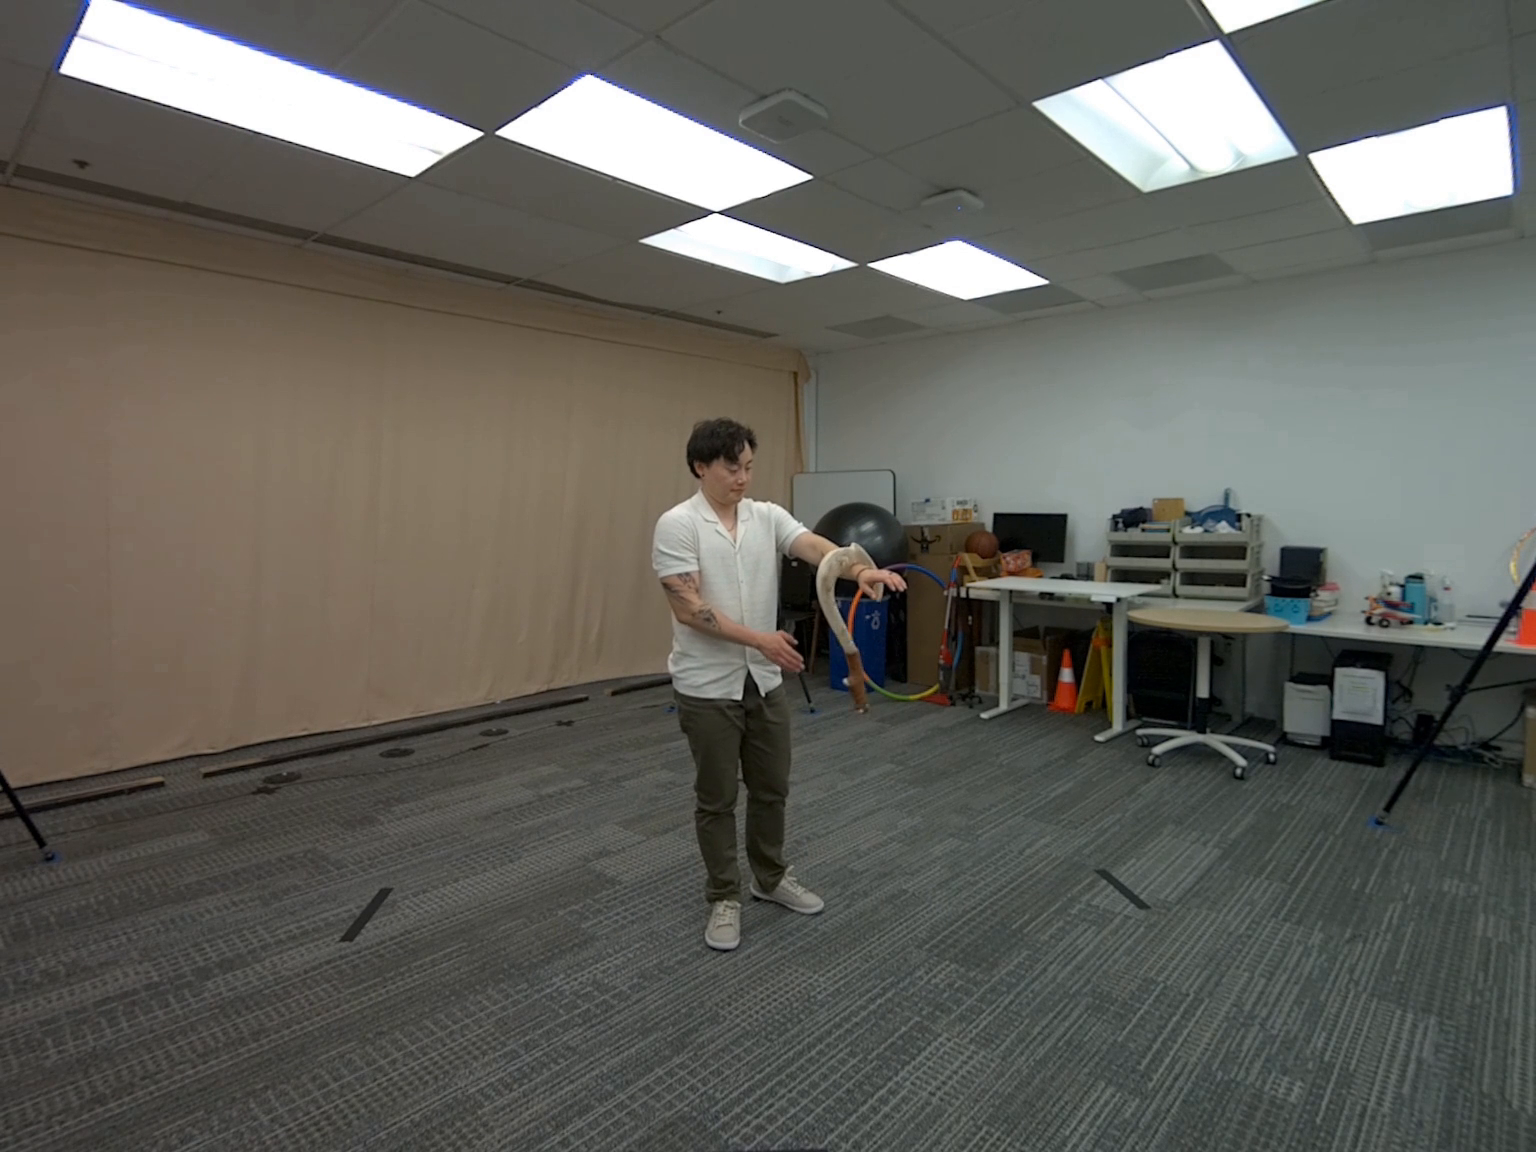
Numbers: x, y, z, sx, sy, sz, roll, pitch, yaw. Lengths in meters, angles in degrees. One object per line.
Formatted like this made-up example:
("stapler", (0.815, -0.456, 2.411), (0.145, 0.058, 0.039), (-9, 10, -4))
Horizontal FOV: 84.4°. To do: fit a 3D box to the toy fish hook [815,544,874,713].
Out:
("toy fish hook", (0.277, 0.158, 2.512), (0.221, 0.502, 0.049), (-14, 11, -17))
